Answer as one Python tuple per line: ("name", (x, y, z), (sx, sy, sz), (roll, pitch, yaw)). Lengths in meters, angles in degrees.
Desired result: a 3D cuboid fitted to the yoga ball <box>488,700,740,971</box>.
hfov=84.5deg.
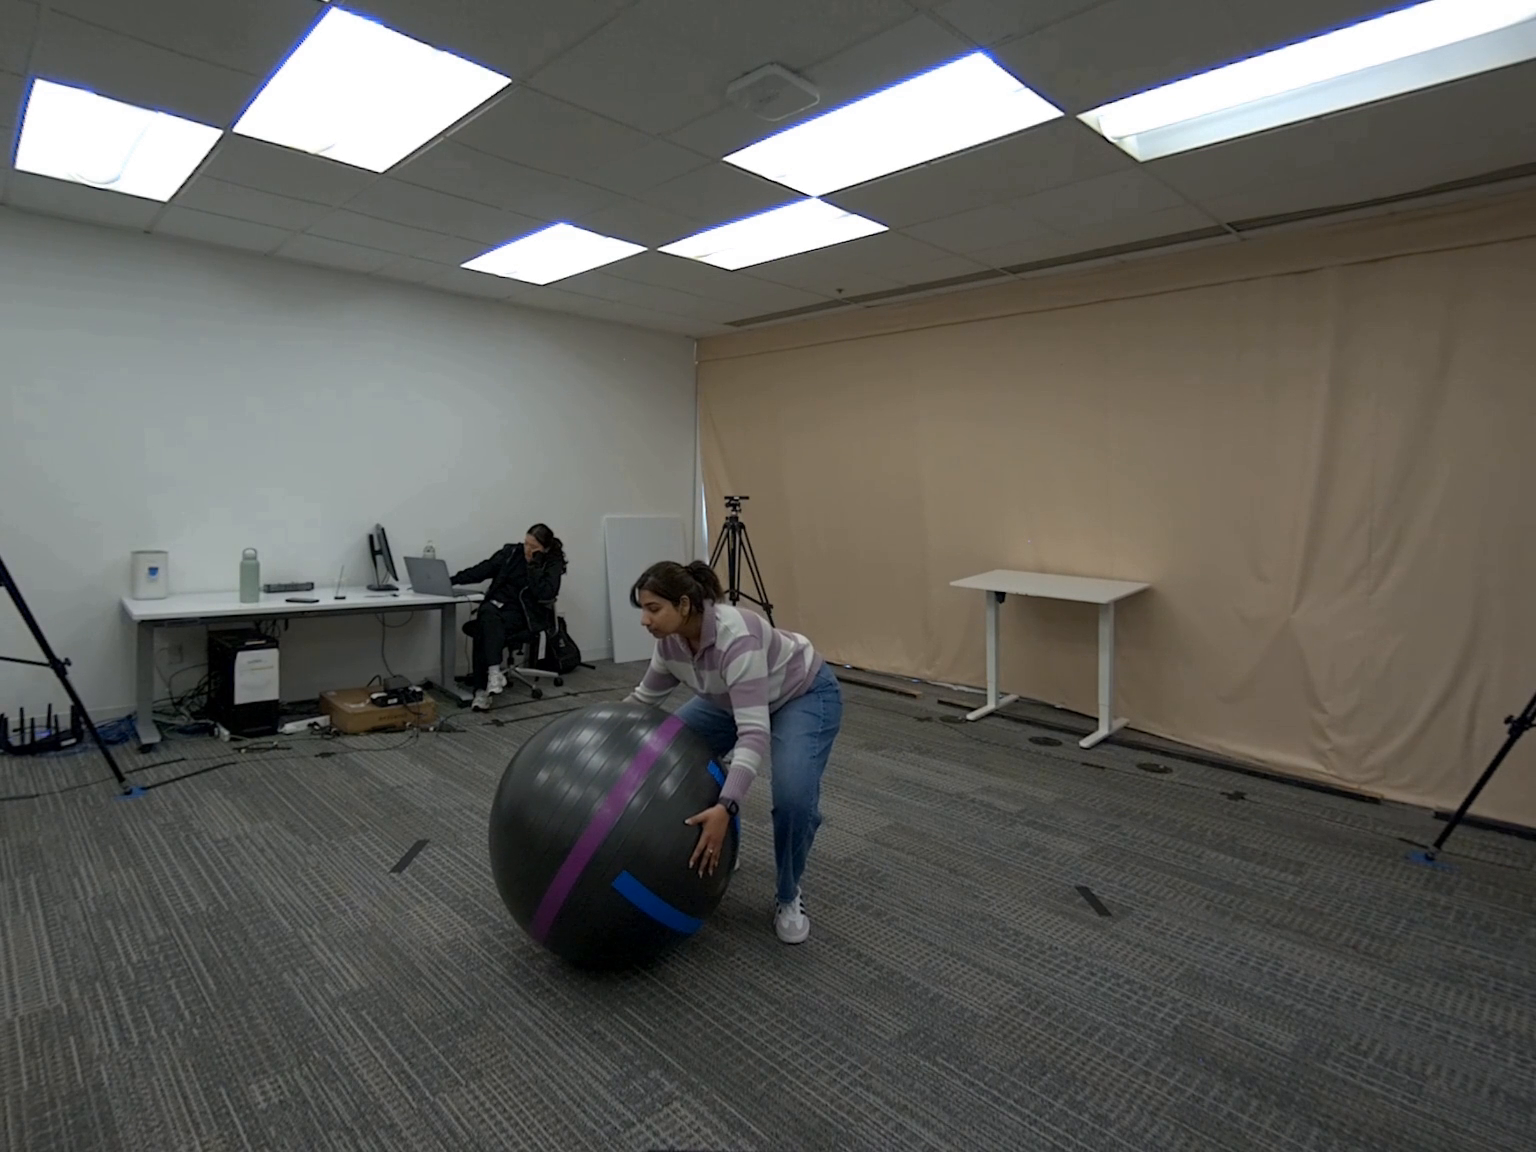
("yoga ball", (-0.479, 0.781, 2.565), (0.757, 0.756, 0.761), (1, 4, -1))
